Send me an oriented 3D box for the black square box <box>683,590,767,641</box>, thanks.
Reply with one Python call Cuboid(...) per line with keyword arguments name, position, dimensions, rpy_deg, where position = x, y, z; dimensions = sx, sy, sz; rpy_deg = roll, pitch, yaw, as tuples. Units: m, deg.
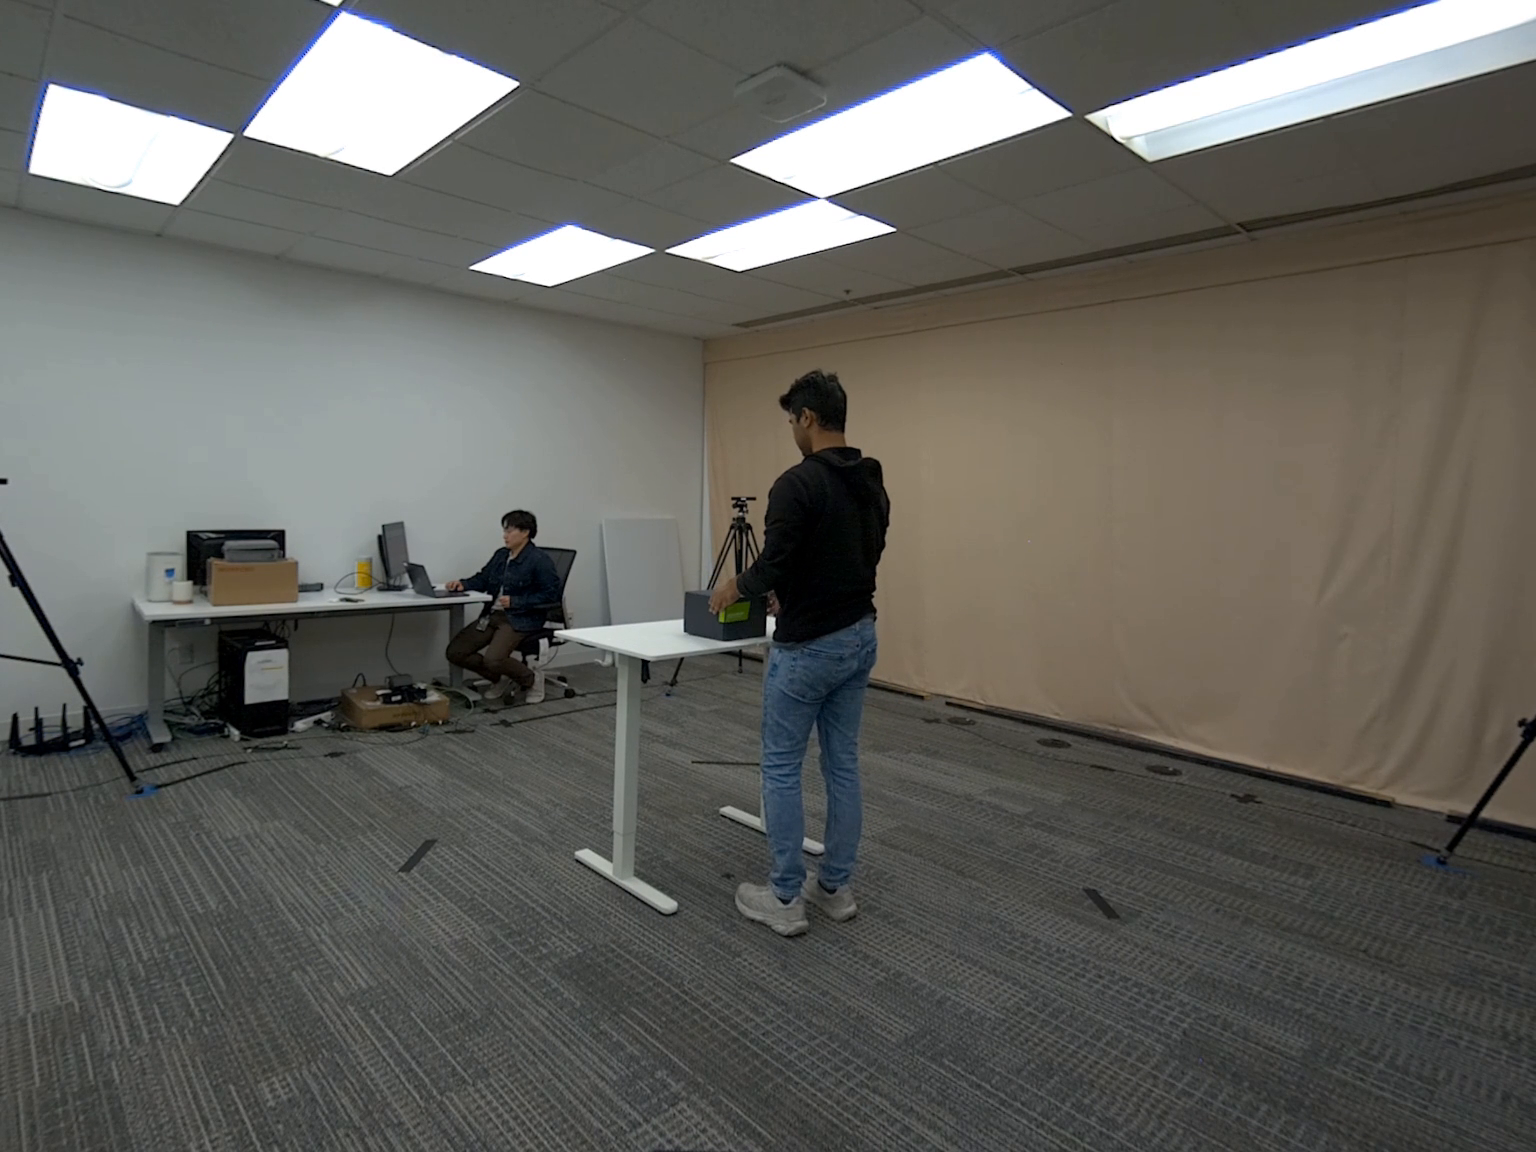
Cuboid(name="black square box", position=(-0.167, 0.135, 3.132), dimensions=(0.223, 0.155, 0.223), rpy_deg=(8, 8, 42))
